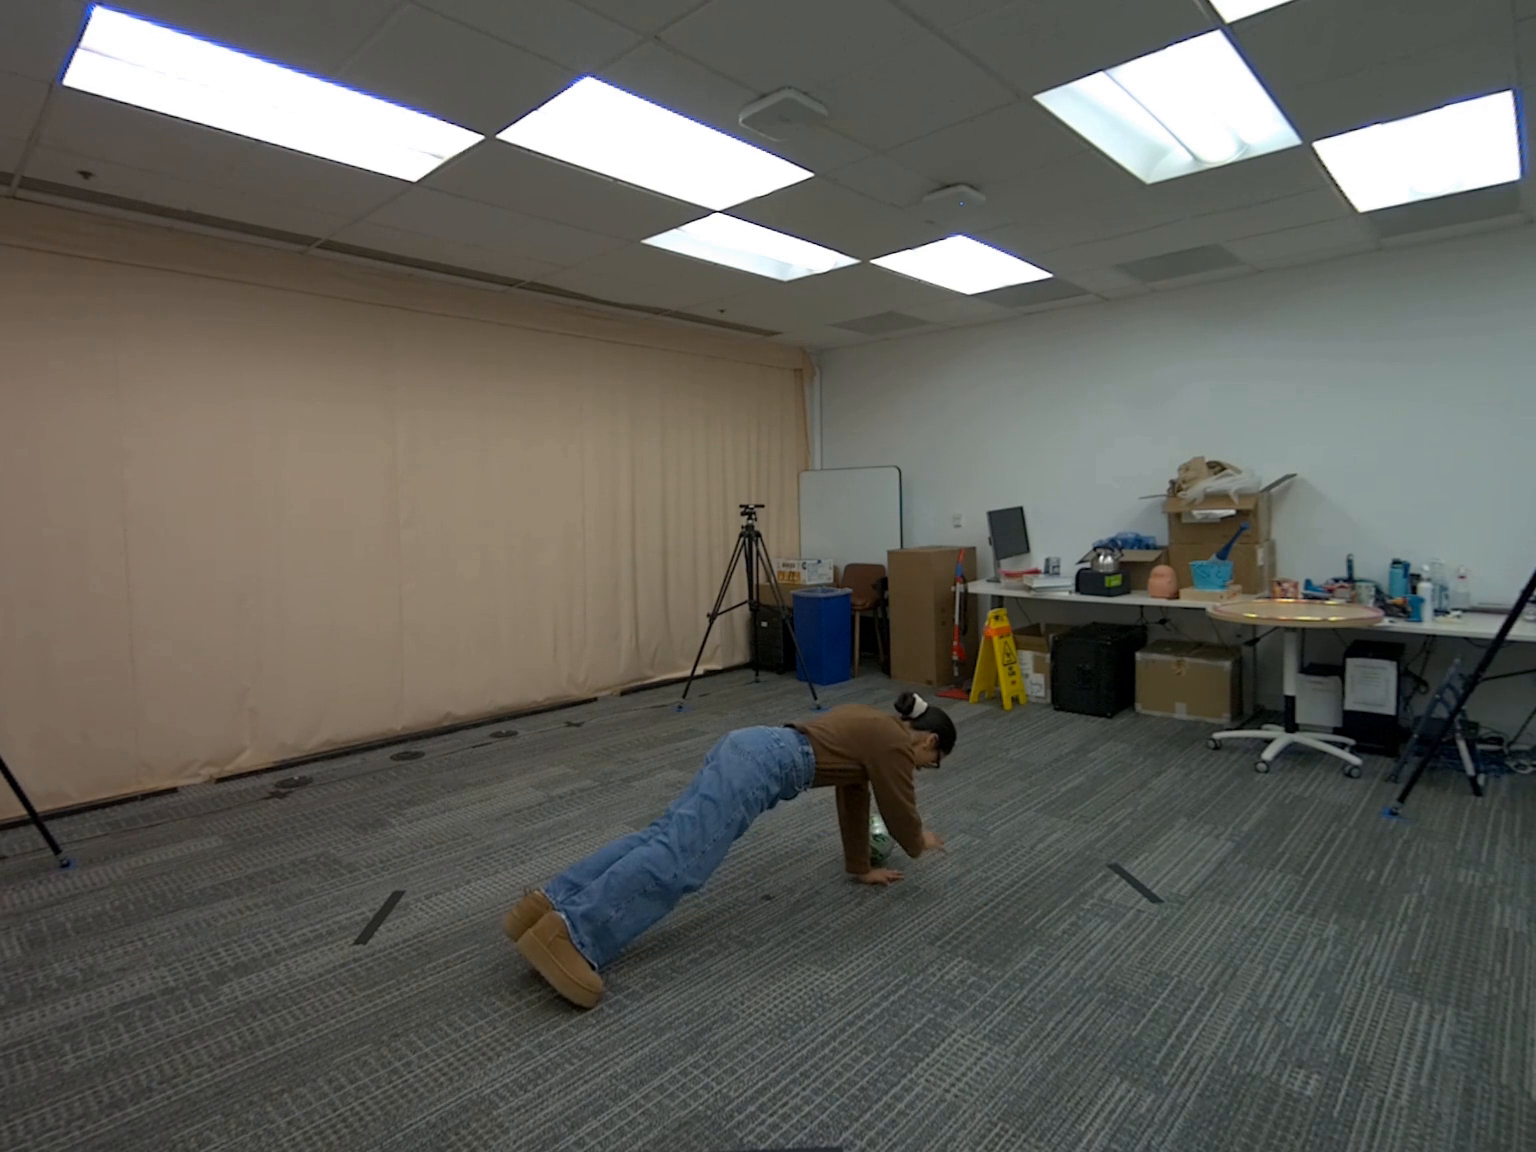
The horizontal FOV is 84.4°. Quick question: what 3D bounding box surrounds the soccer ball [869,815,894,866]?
[{"bbox_3d":[0.398,1.019,3.262,0.187,0.187,0.188,-1,4,-2],"label":"soccer ball"}]
